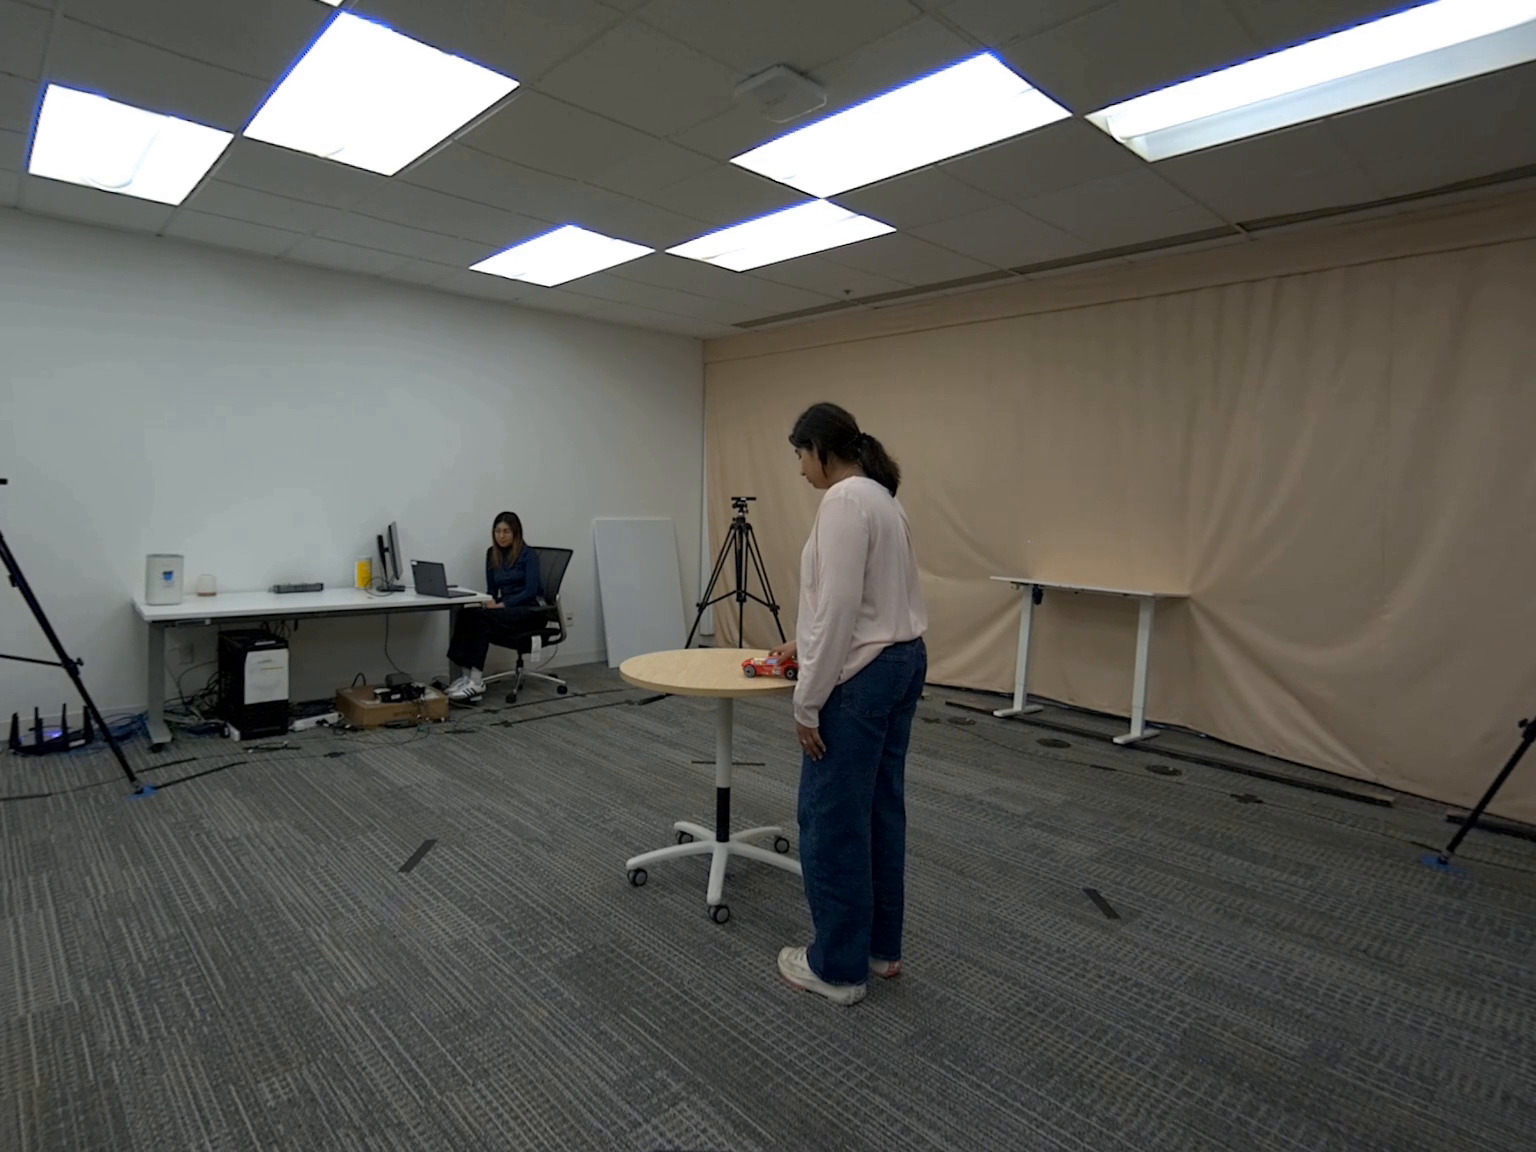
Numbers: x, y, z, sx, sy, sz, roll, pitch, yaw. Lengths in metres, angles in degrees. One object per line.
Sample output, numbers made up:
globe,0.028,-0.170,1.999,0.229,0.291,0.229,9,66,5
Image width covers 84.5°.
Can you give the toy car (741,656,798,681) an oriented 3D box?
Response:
toy car,0.028,0.314,2.881,0.257,0.083,0.129,-8,2,14
